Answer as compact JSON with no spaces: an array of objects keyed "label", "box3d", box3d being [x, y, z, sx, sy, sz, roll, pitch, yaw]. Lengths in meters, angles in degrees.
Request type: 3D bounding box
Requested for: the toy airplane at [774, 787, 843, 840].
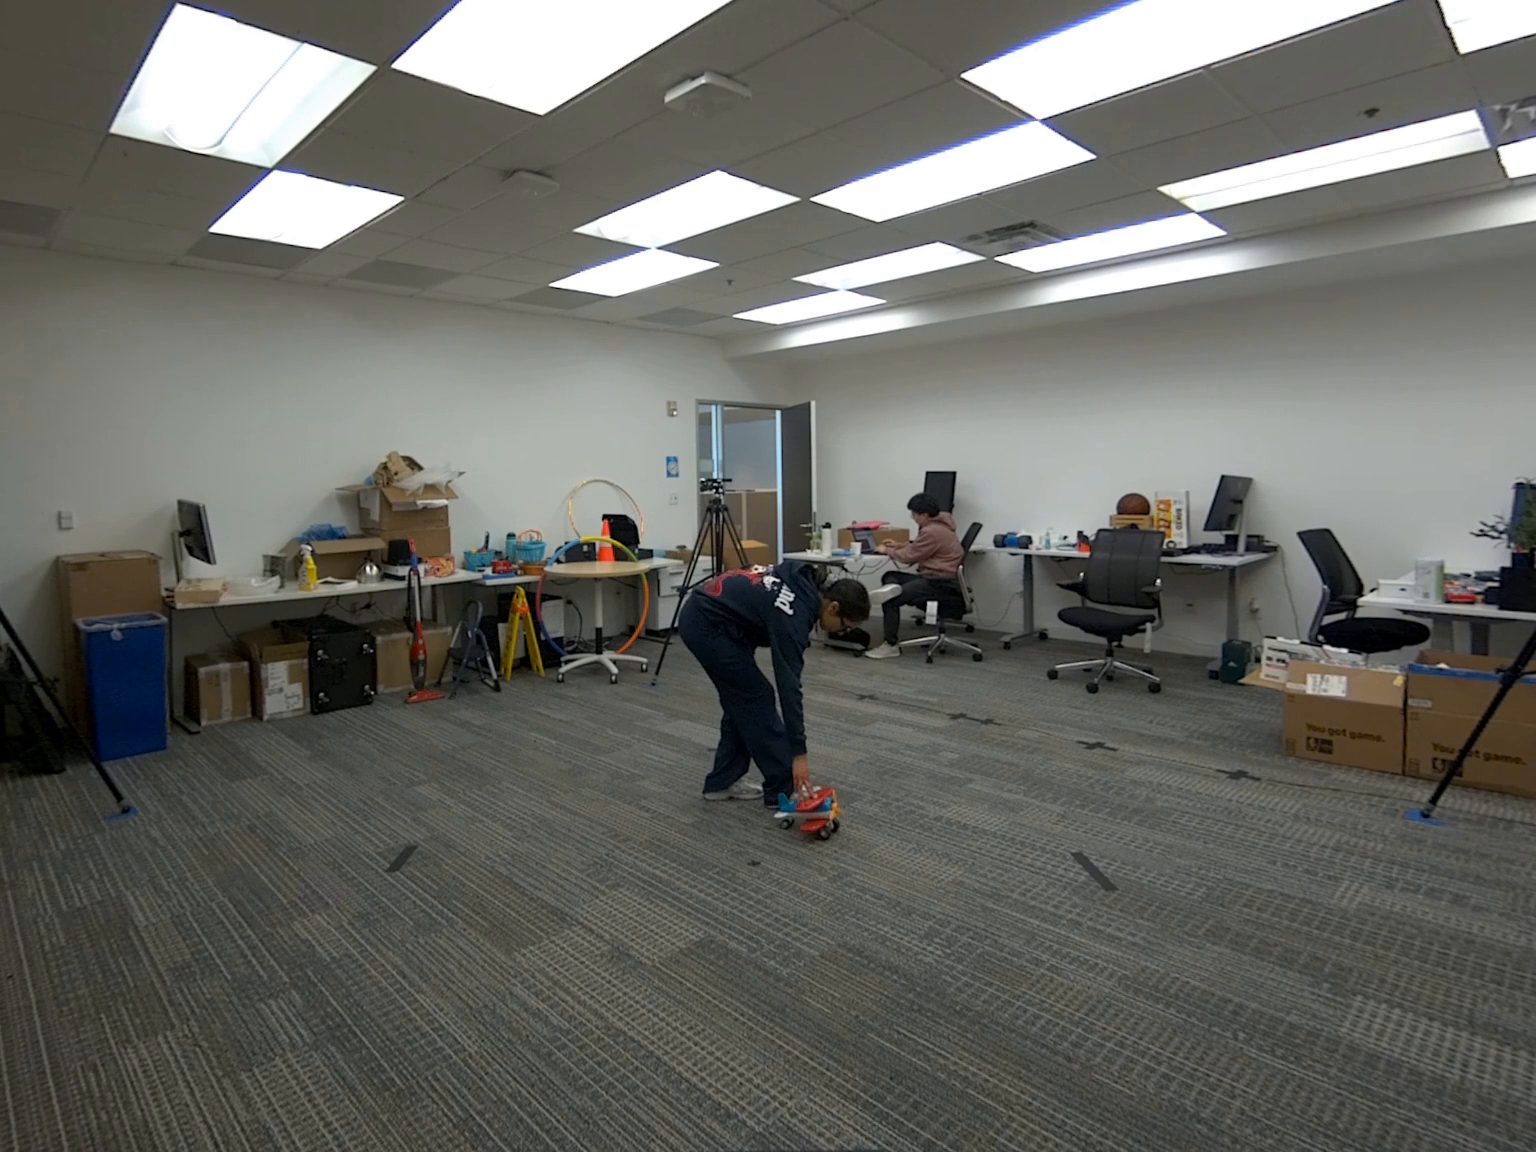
[{"label":"toy airplane","box3d":[0.160,0.941,3.360,0.259,0.156,0.252,0,5,0]}]
